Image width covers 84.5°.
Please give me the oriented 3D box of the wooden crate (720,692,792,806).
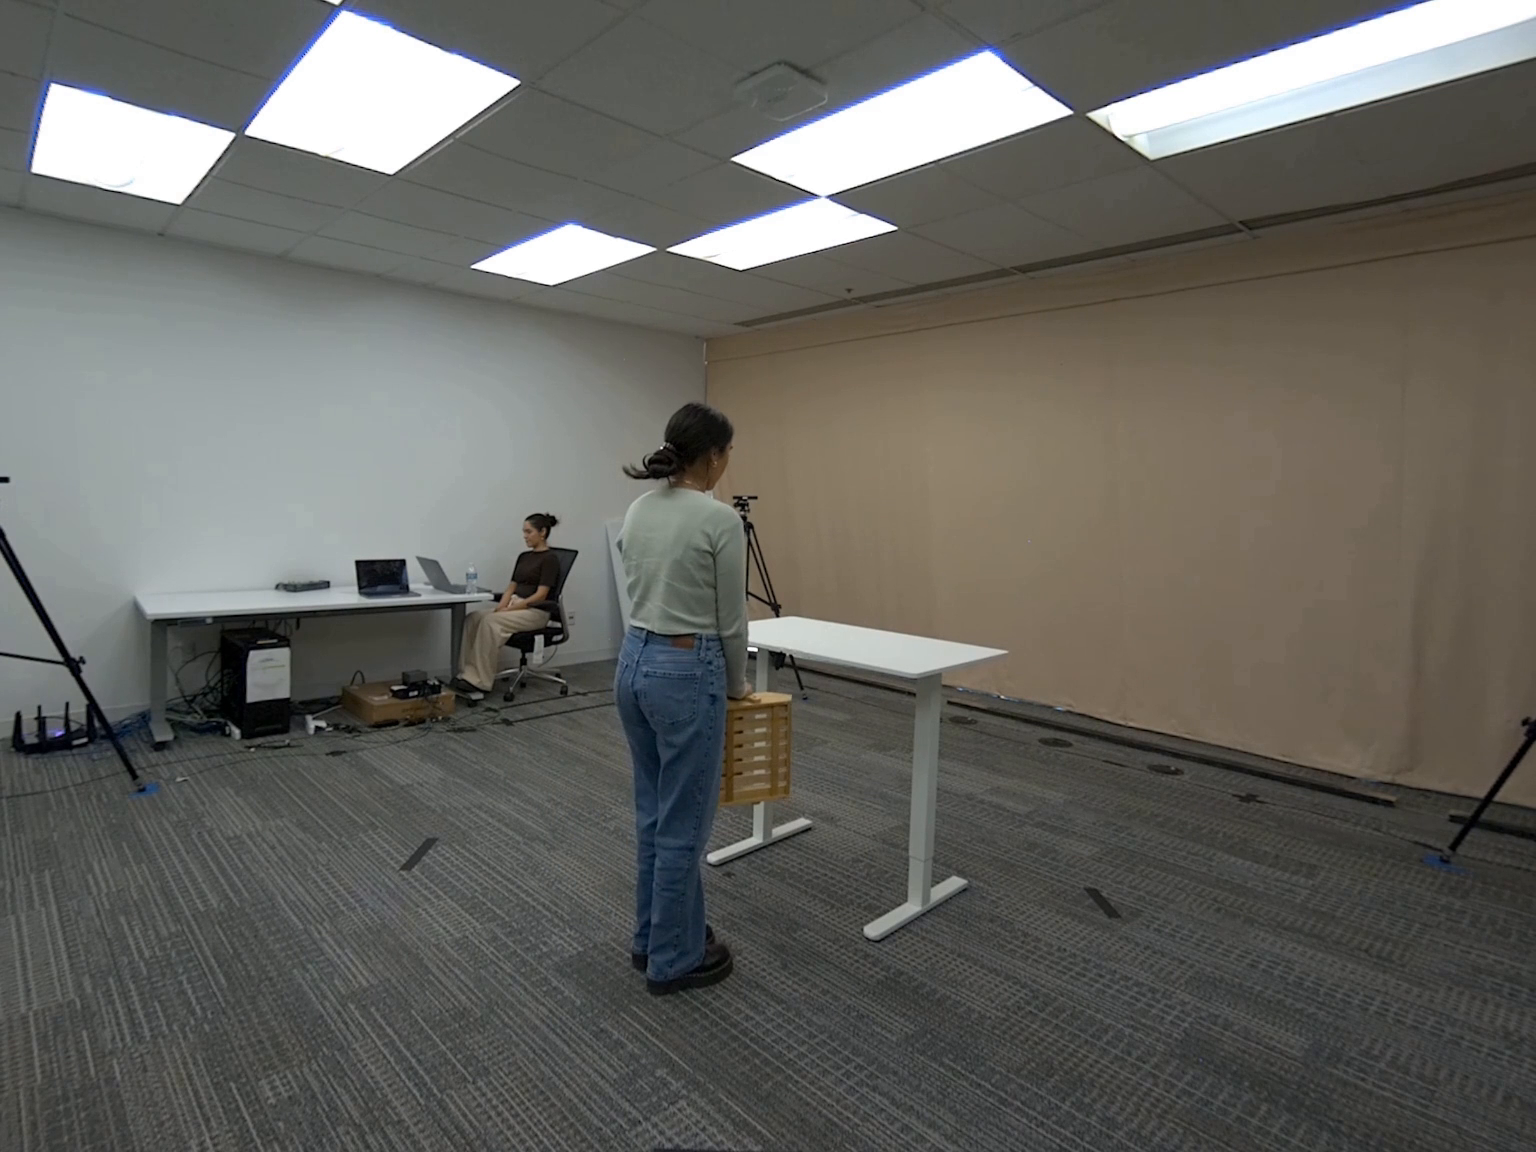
[{"bbox_3d":[-0.111,0.494,2.571,0.298,0.322,0.279,-3,9,-18],"label":"wooden crate"}]
